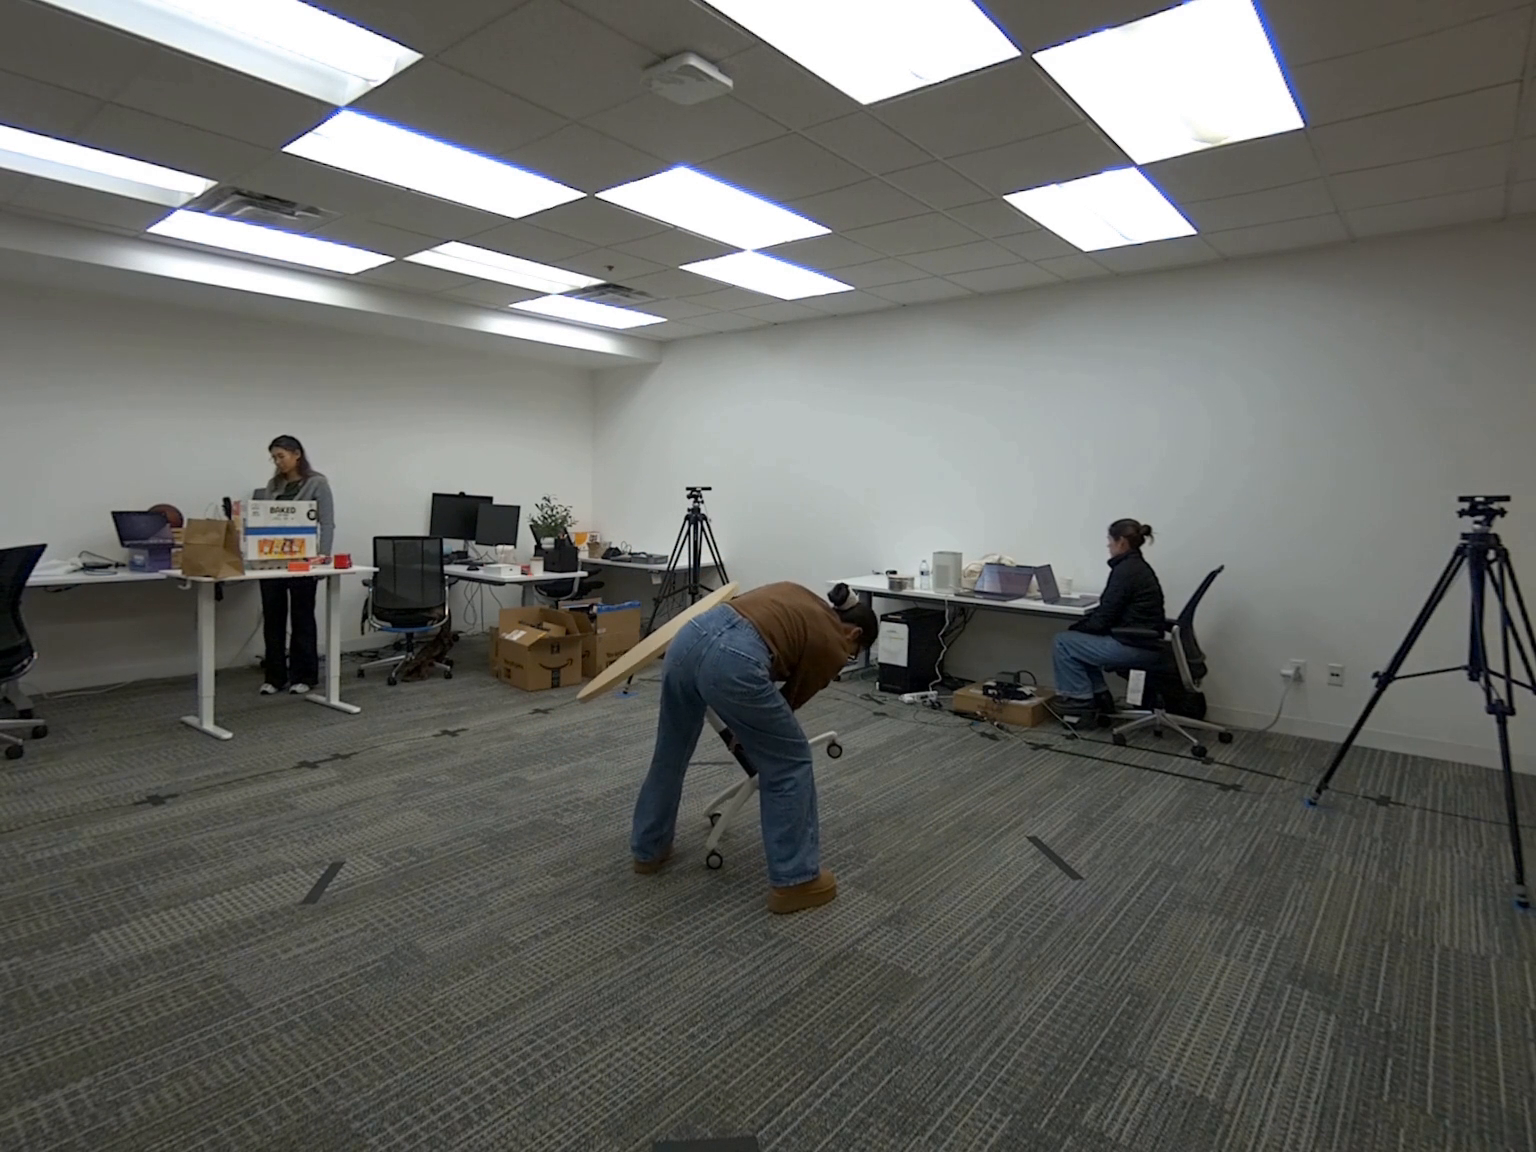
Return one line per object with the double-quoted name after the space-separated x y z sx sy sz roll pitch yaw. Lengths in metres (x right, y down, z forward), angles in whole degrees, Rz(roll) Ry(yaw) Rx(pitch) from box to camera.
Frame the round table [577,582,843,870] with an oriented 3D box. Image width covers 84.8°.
-0.206 0.564 3.327 0.764 0.793 0.766 -36 2 0 "round table"
